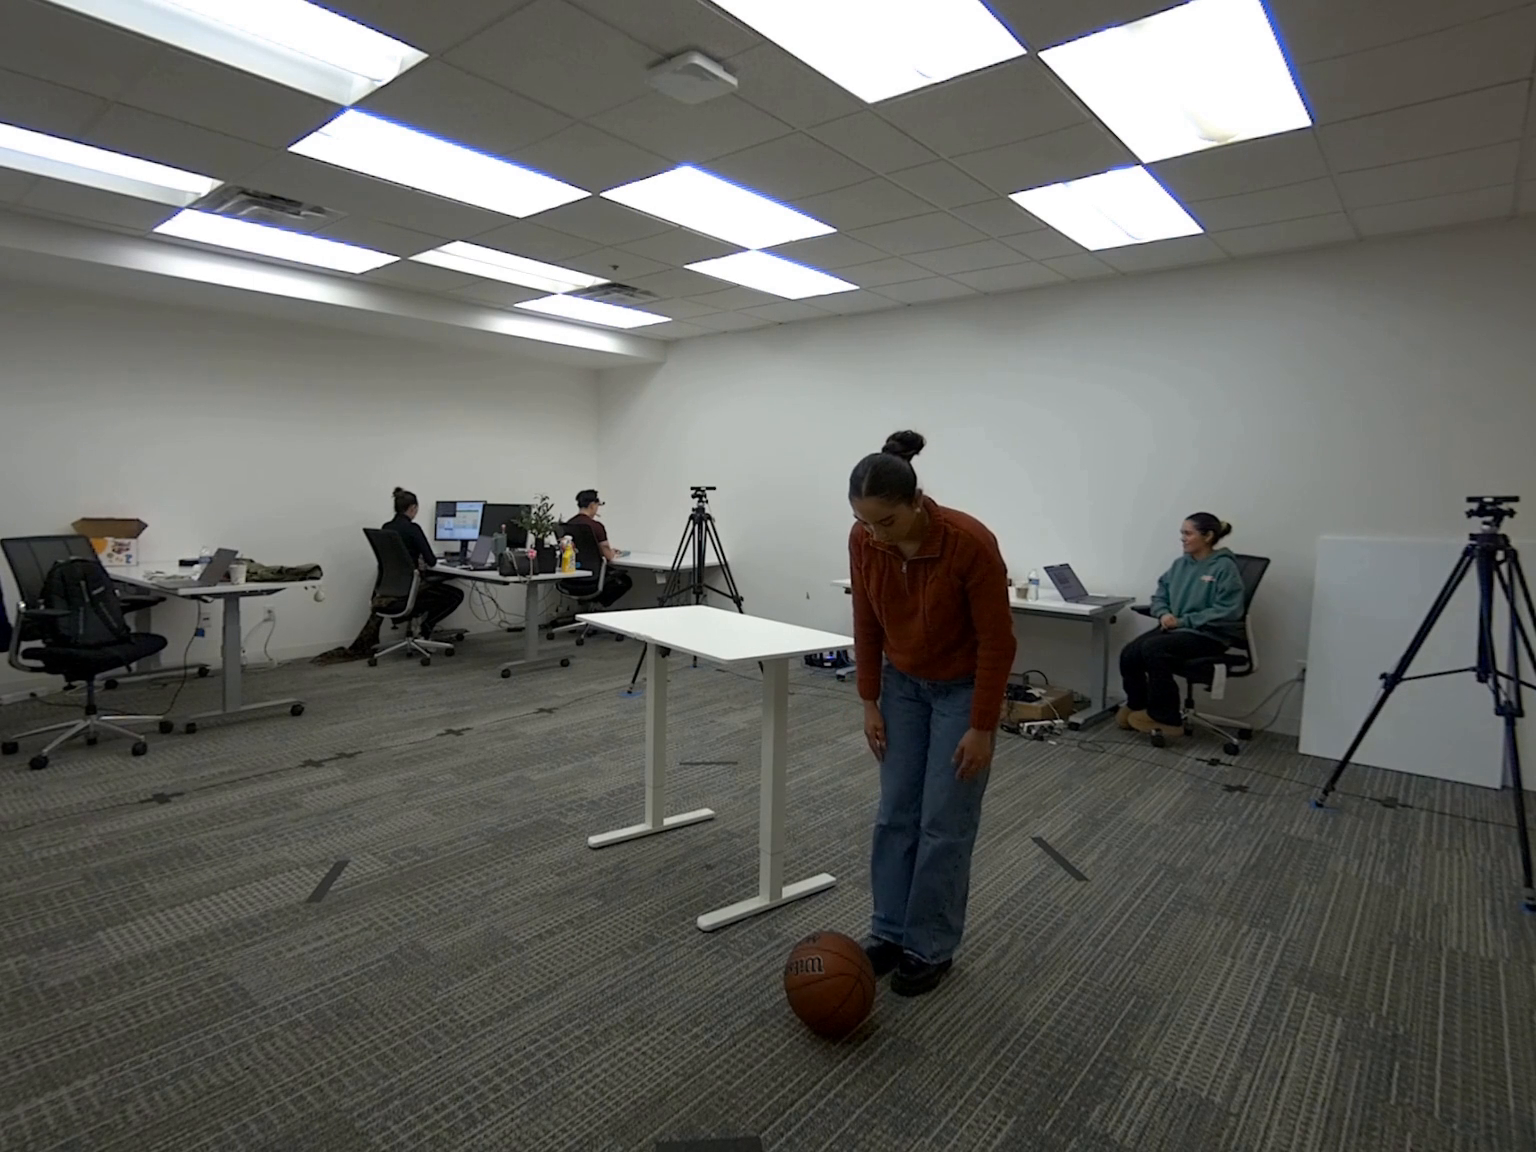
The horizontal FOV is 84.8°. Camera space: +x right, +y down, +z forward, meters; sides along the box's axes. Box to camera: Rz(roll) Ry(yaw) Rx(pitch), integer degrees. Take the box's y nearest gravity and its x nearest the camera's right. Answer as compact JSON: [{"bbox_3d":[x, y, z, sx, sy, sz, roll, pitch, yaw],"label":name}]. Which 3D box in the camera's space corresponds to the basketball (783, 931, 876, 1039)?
[{"bbox_3d":[0.154,1.036,2.206,0.235,0.235,0.237,1,4,-2],"label":"basketball"}]
